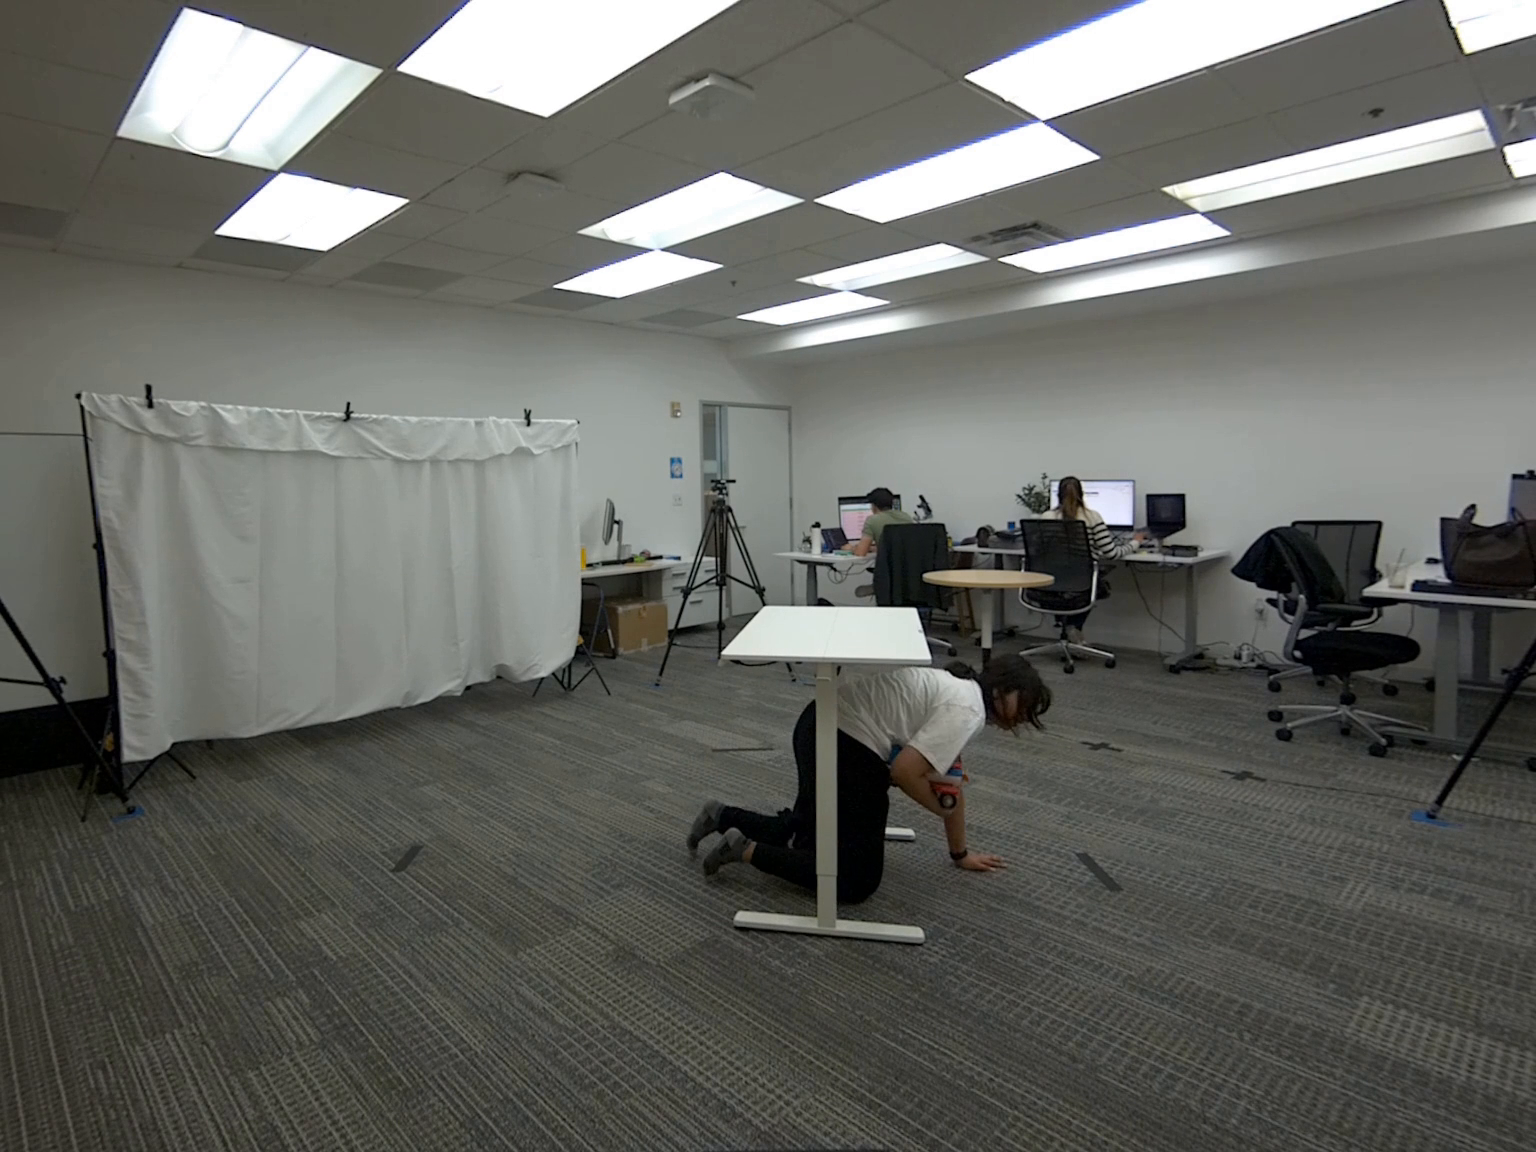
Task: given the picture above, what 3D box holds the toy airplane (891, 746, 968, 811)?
[{"bbox_3d":[0.504,0.639,2.784,0.250,0.157,0.258,31,-14,-34],"label":"toy airplane"}]
